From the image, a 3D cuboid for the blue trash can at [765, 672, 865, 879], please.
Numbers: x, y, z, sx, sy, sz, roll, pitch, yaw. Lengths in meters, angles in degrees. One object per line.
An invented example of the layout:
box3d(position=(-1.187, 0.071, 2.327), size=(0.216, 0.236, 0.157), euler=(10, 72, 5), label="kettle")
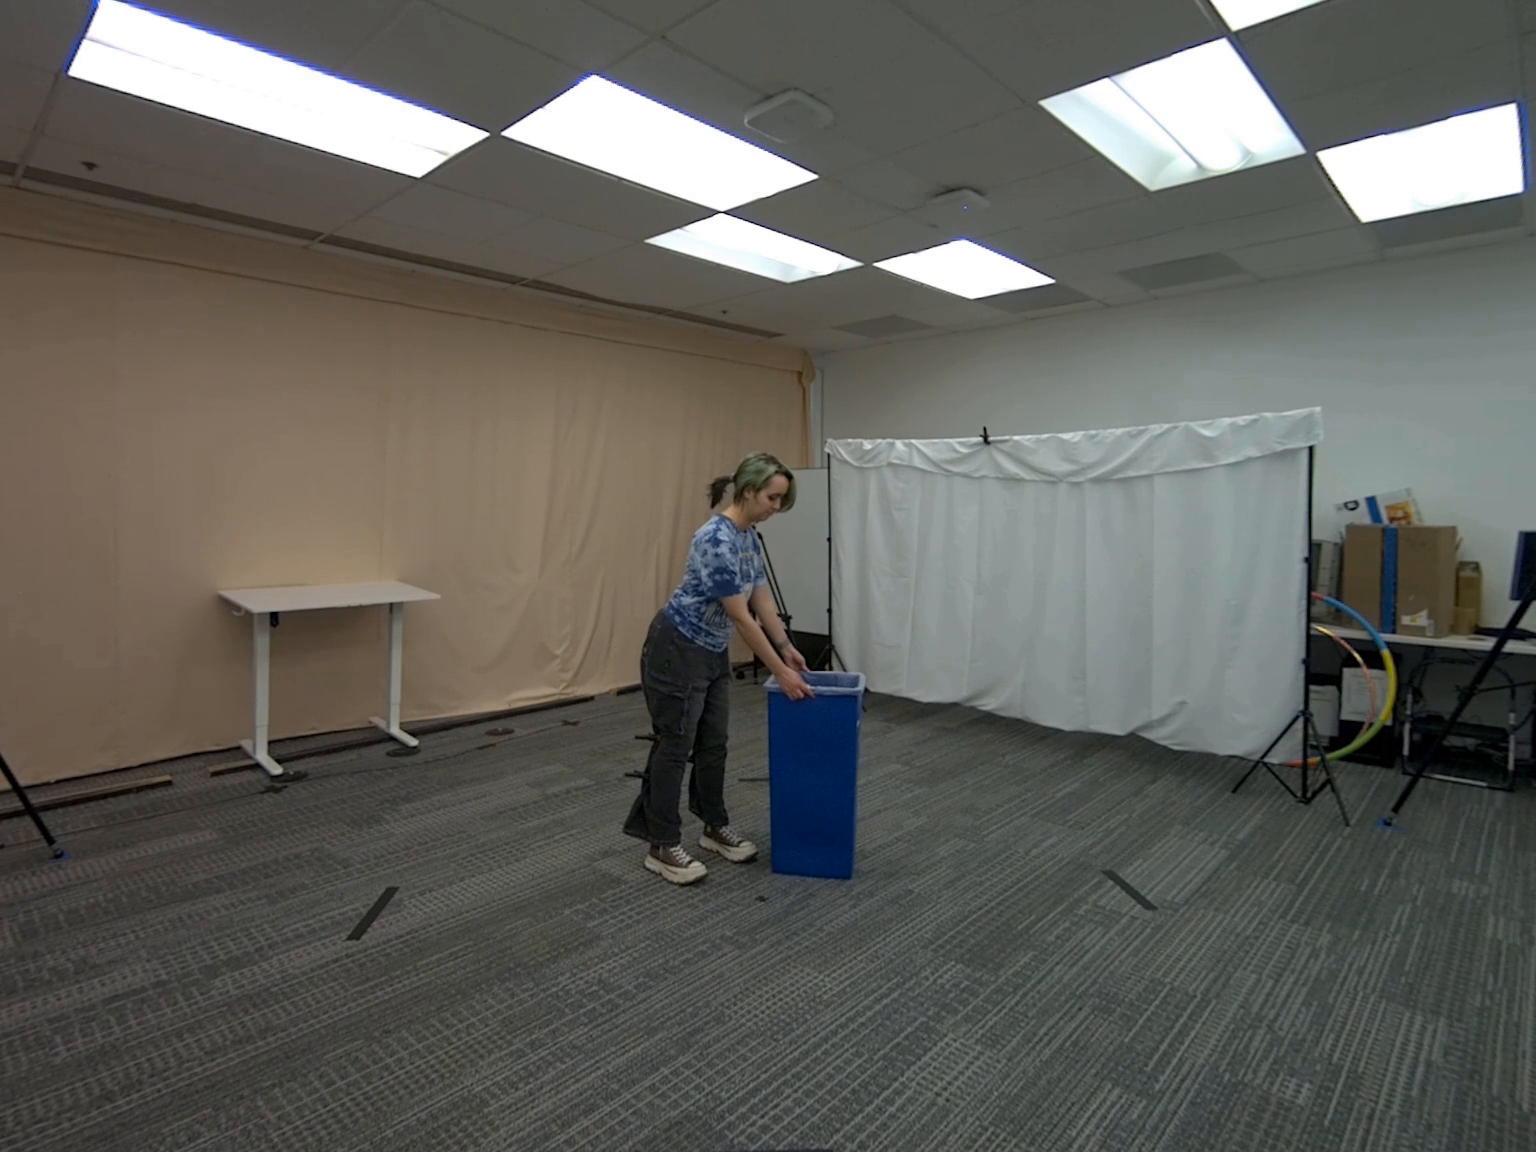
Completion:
box3d(position=(0.183, 0.759, 3.287), size=(0.383, 0.712, 0.370), euler=(1, 3, 10), label="blue trash can")
